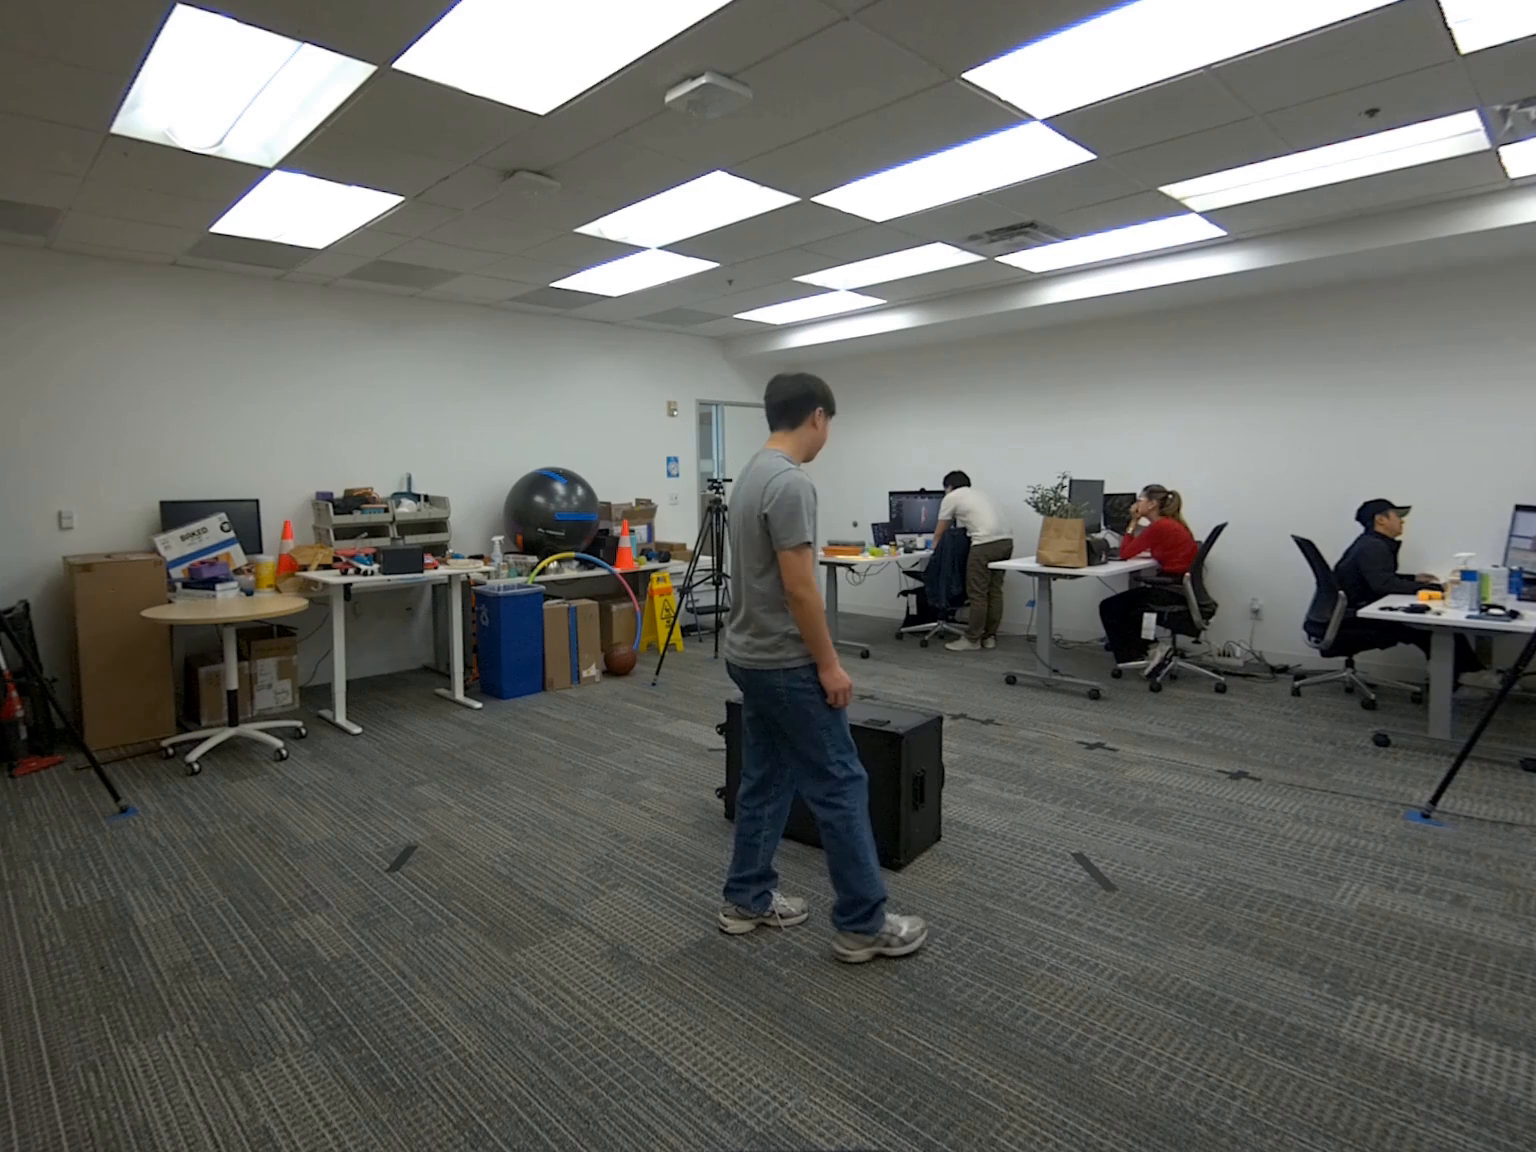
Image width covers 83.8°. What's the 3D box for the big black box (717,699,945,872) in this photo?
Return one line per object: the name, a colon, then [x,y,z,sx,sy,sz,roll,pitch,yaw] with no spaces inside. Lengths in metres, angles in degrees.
big black box: [0.228,0.752,3.402,0.887,0.520,0.386,3,4,36]
